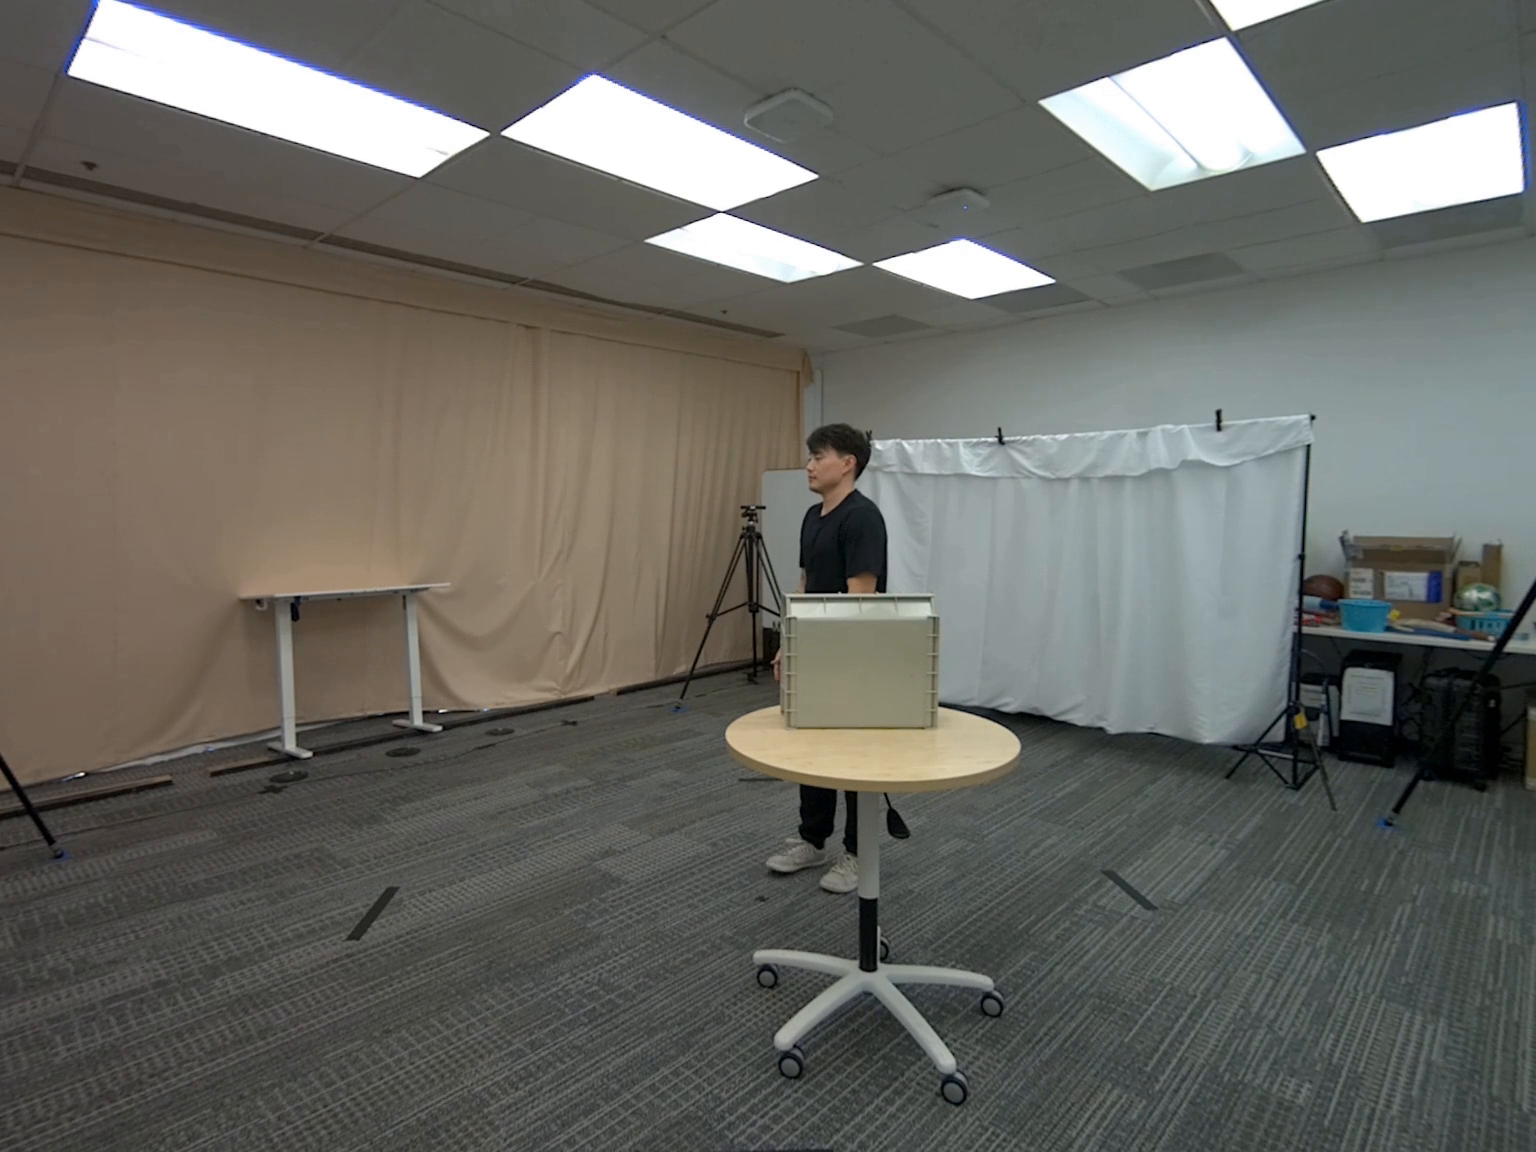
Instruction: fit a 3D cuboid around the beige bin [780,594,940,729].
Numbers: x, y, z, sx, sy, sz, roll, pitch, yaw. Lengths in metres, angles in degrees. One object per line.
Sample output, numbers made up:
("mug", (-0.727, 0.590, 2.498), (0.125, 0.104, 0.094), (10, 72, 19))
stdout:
("beige bin", (0.251, 0.228, 2.359), (0.423, 0.375, 0.189), (0, 7, 1))
